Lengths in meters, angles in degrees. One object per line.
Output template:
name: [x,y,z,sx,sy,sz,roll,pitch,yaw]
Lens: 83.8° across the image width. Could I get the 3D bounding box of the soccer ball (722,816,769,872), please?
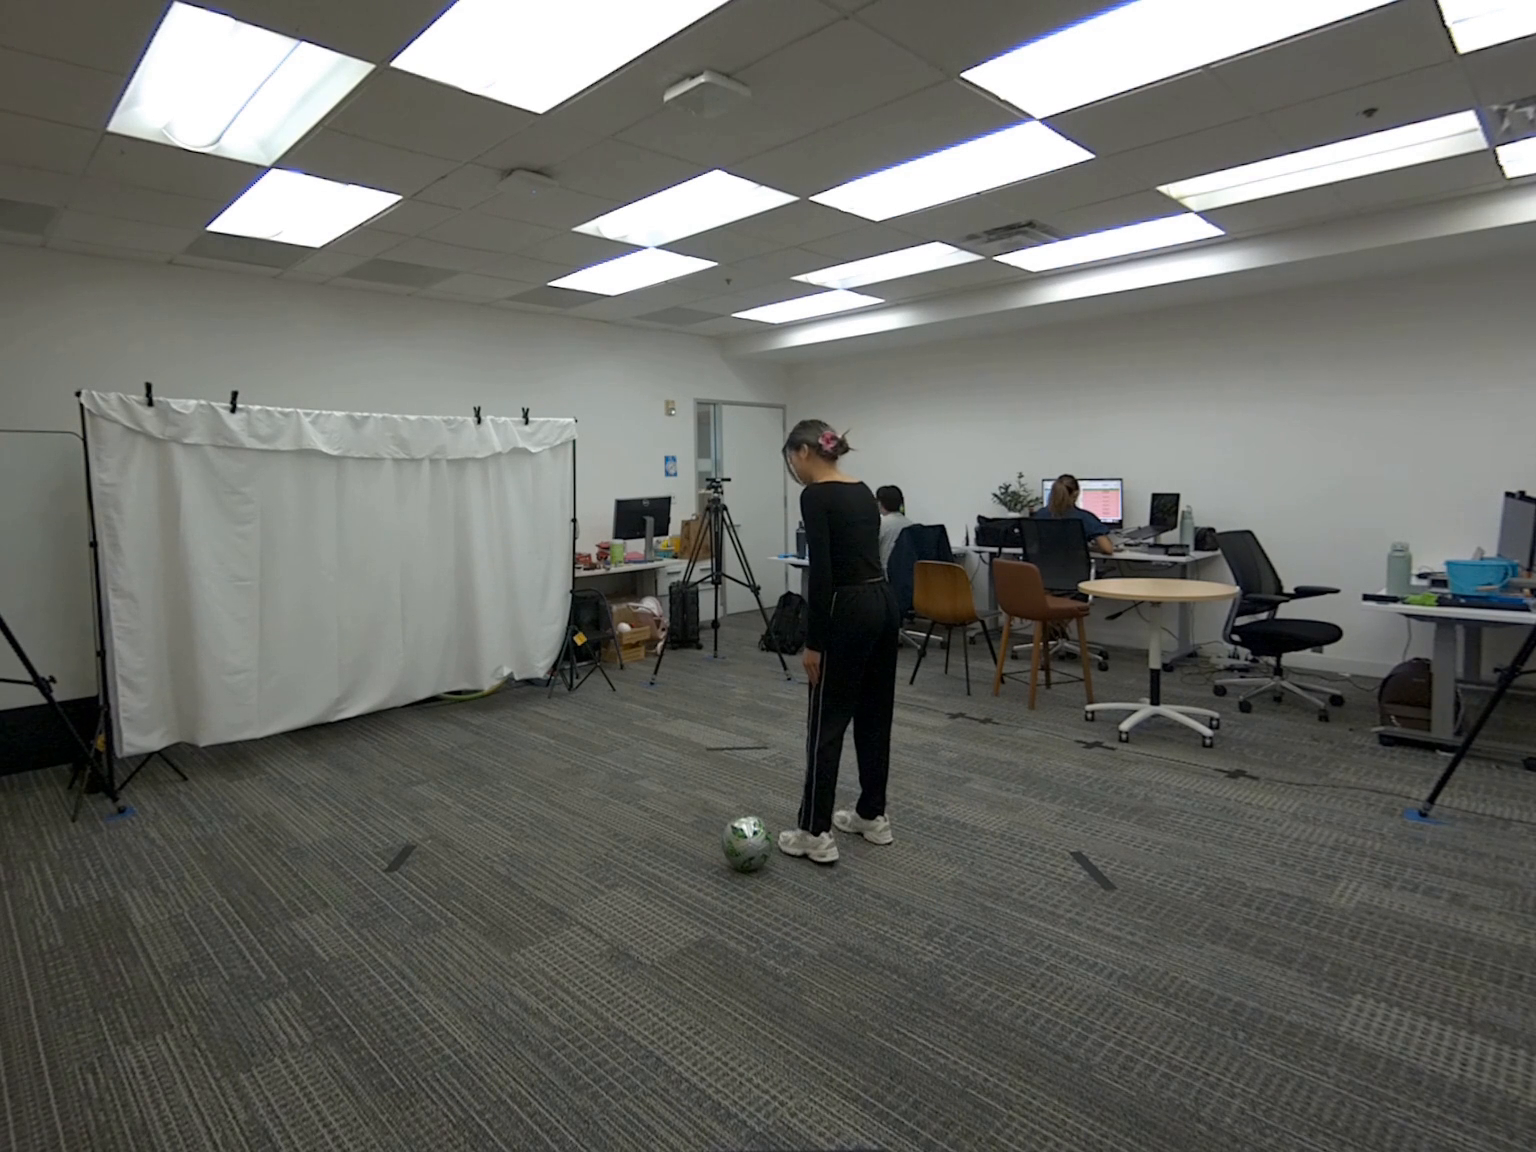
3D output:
soccer ball: [-0.073,0.952,3.061,0.187,0.187,0.188,-1,5,-2]
